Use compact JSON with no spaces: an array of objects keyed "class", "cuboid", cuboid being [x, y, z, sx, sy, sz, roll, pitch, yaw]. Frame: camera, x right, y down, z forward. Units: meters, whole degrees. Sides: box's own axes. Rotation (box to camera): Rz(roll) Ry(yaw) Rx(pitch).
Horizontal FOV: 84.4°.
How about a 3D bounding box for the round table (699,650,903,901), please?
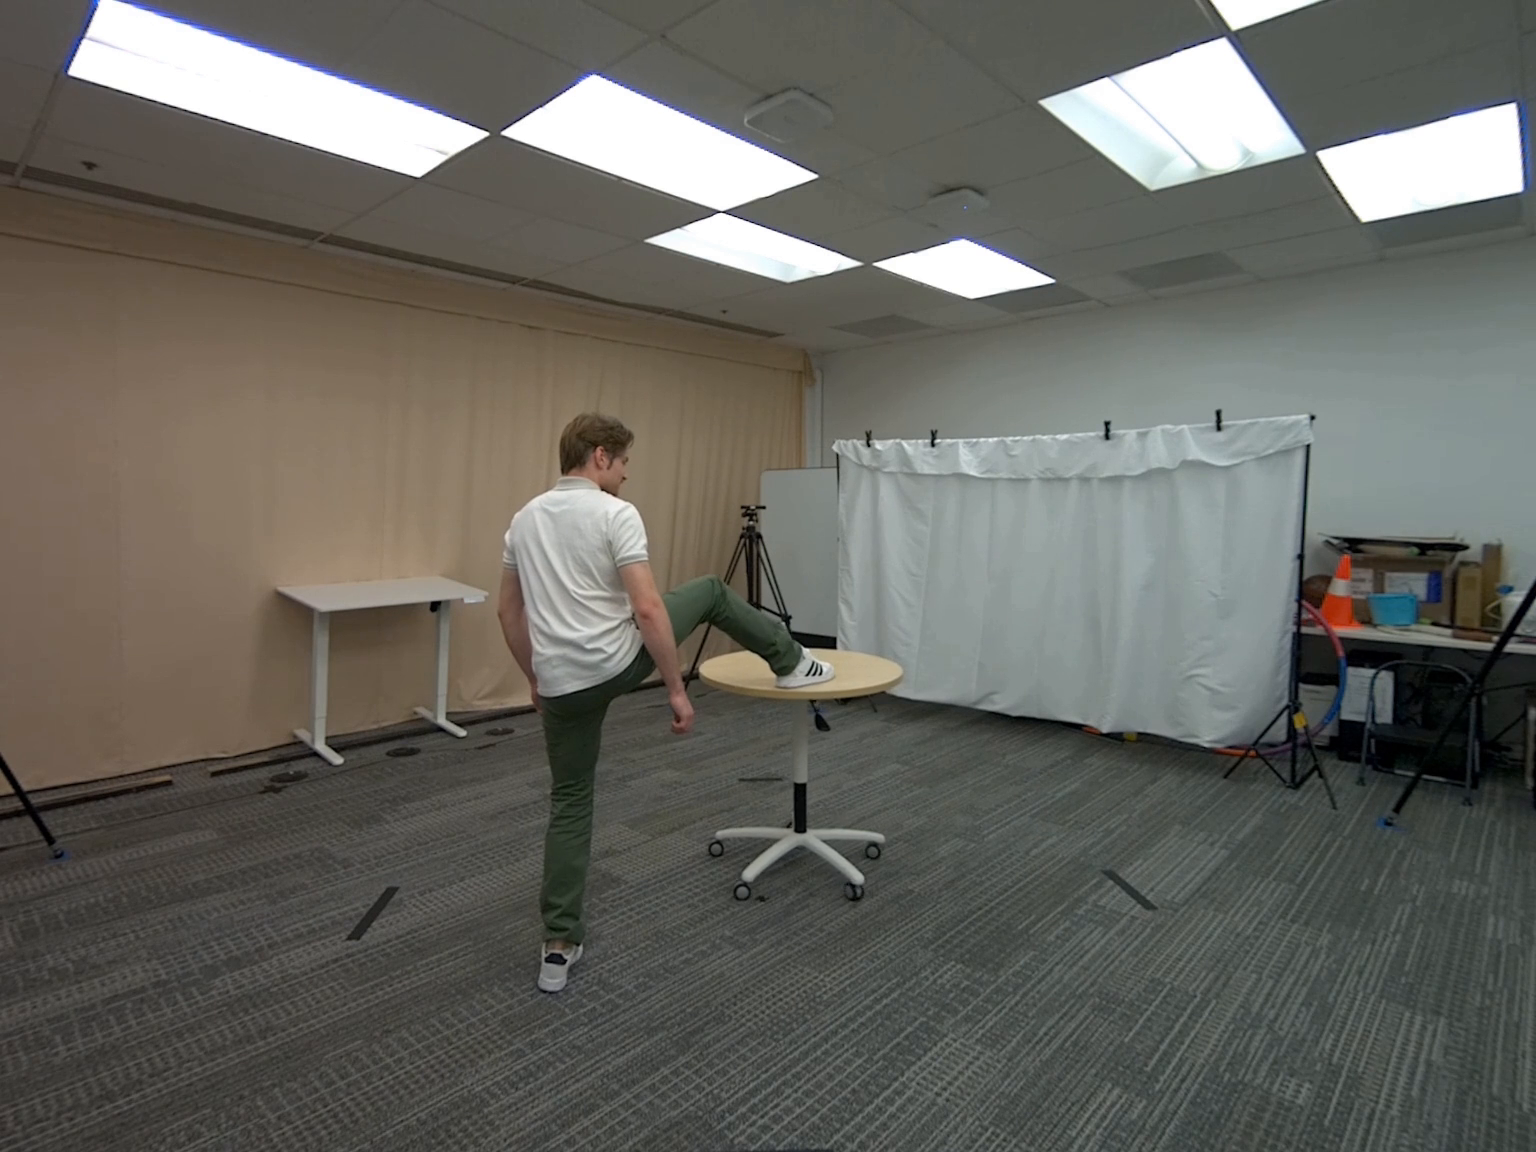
[{"class":"round table","cuboid":[0.127,0.737,3.220,0.763,0.792,0.767,0,4,-2]}]
